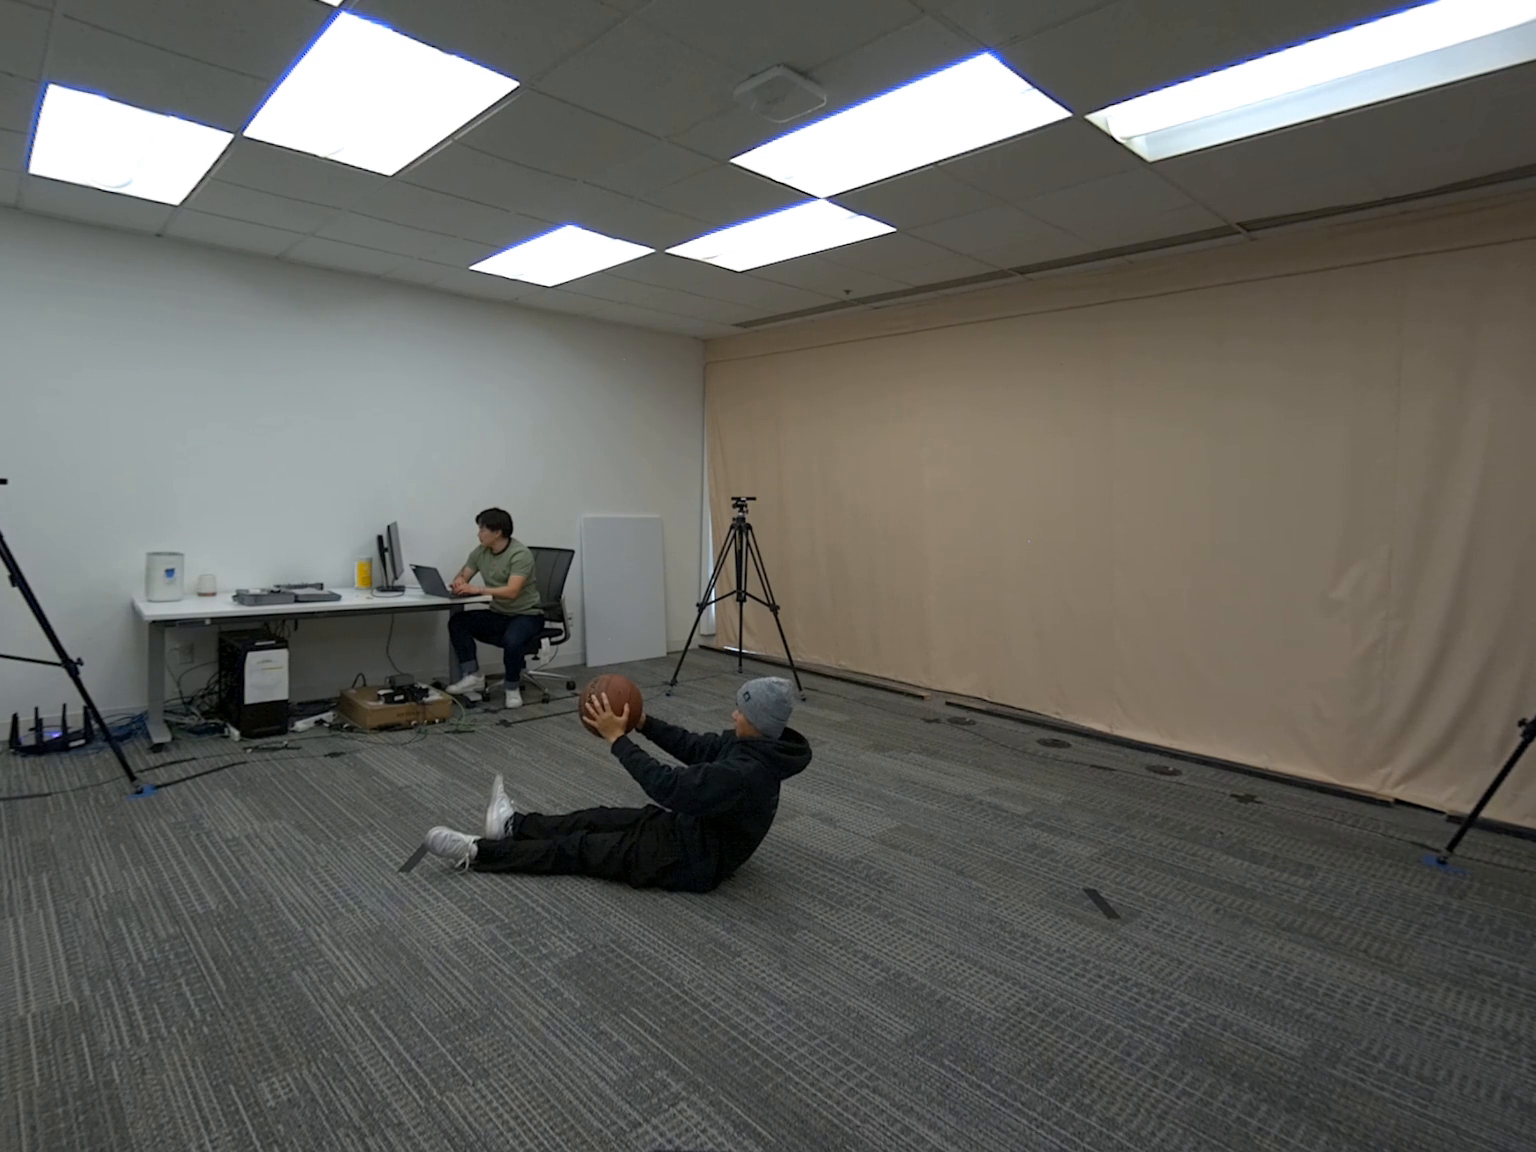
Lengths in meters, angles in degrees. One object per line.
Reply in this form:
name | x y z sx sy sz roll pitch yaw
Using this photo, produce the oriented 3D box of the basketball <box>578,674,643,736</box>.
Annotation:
basketball | -0.593 0.483 3.141 0.236 0.235 0.237 1 4 -1
